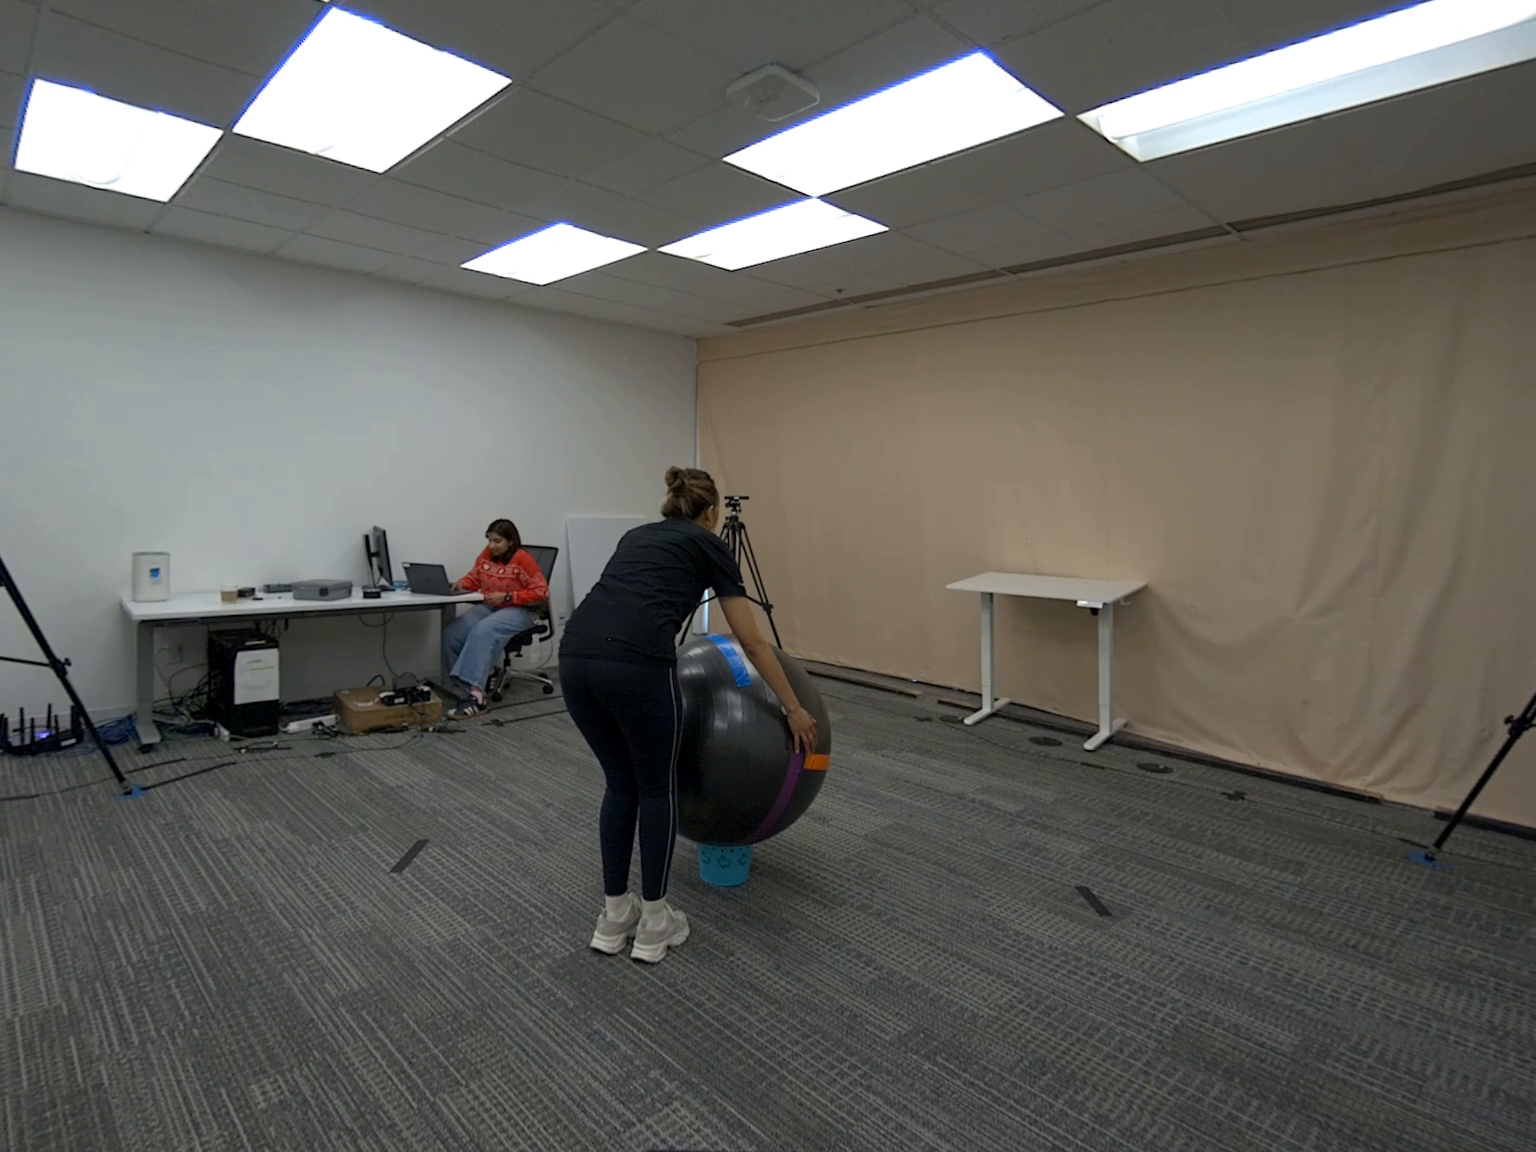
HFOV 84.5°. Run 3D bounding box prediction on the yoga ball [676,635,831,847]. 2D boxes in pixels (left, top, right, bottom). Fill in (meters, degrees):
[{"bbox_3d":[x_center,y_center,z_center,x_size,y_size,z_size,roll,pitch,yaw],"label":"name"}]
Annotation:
[{"bbox_3d":[-0.151,0.596,3.087,0.757,0.756,0.761,1,4,-1],"label":"yoga ball"}]
